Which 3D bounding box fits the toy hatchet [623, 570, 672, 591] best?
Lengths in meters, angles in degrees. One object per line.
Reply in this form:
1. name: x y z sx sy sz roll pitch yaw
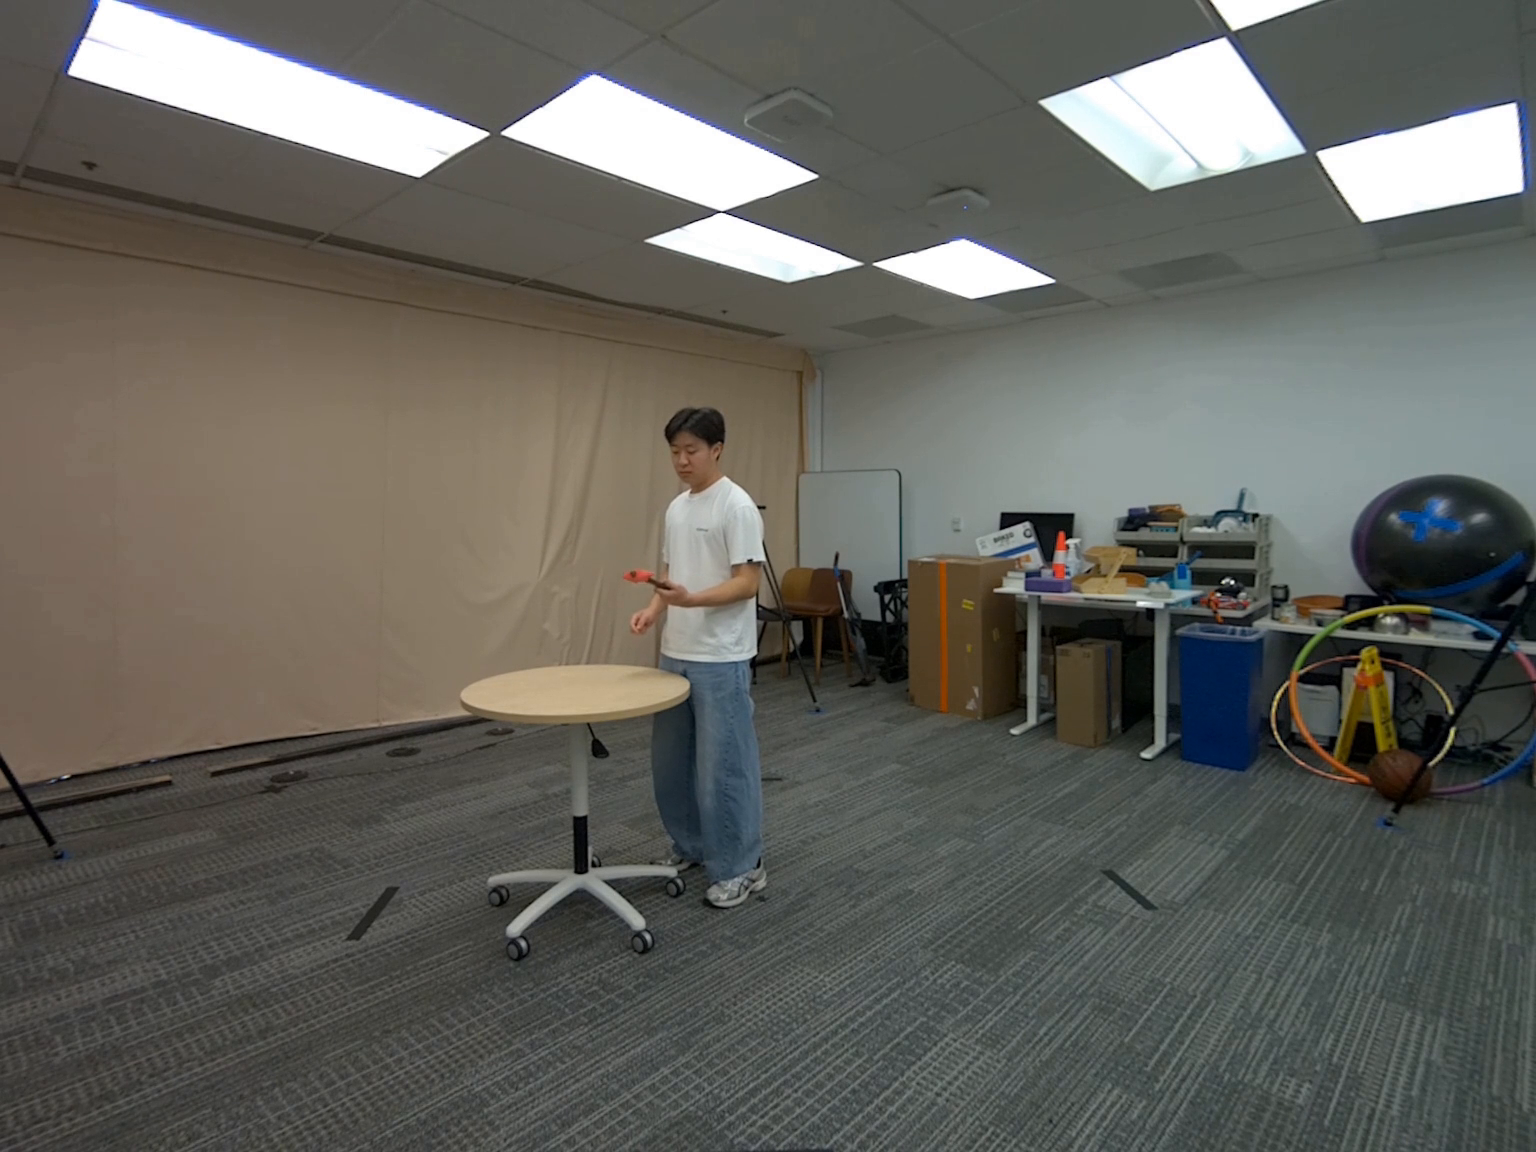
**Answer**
1. toy hatchet: -0.385 0.029 2.778 0.133 0.030 0.262 -1 -17 17
